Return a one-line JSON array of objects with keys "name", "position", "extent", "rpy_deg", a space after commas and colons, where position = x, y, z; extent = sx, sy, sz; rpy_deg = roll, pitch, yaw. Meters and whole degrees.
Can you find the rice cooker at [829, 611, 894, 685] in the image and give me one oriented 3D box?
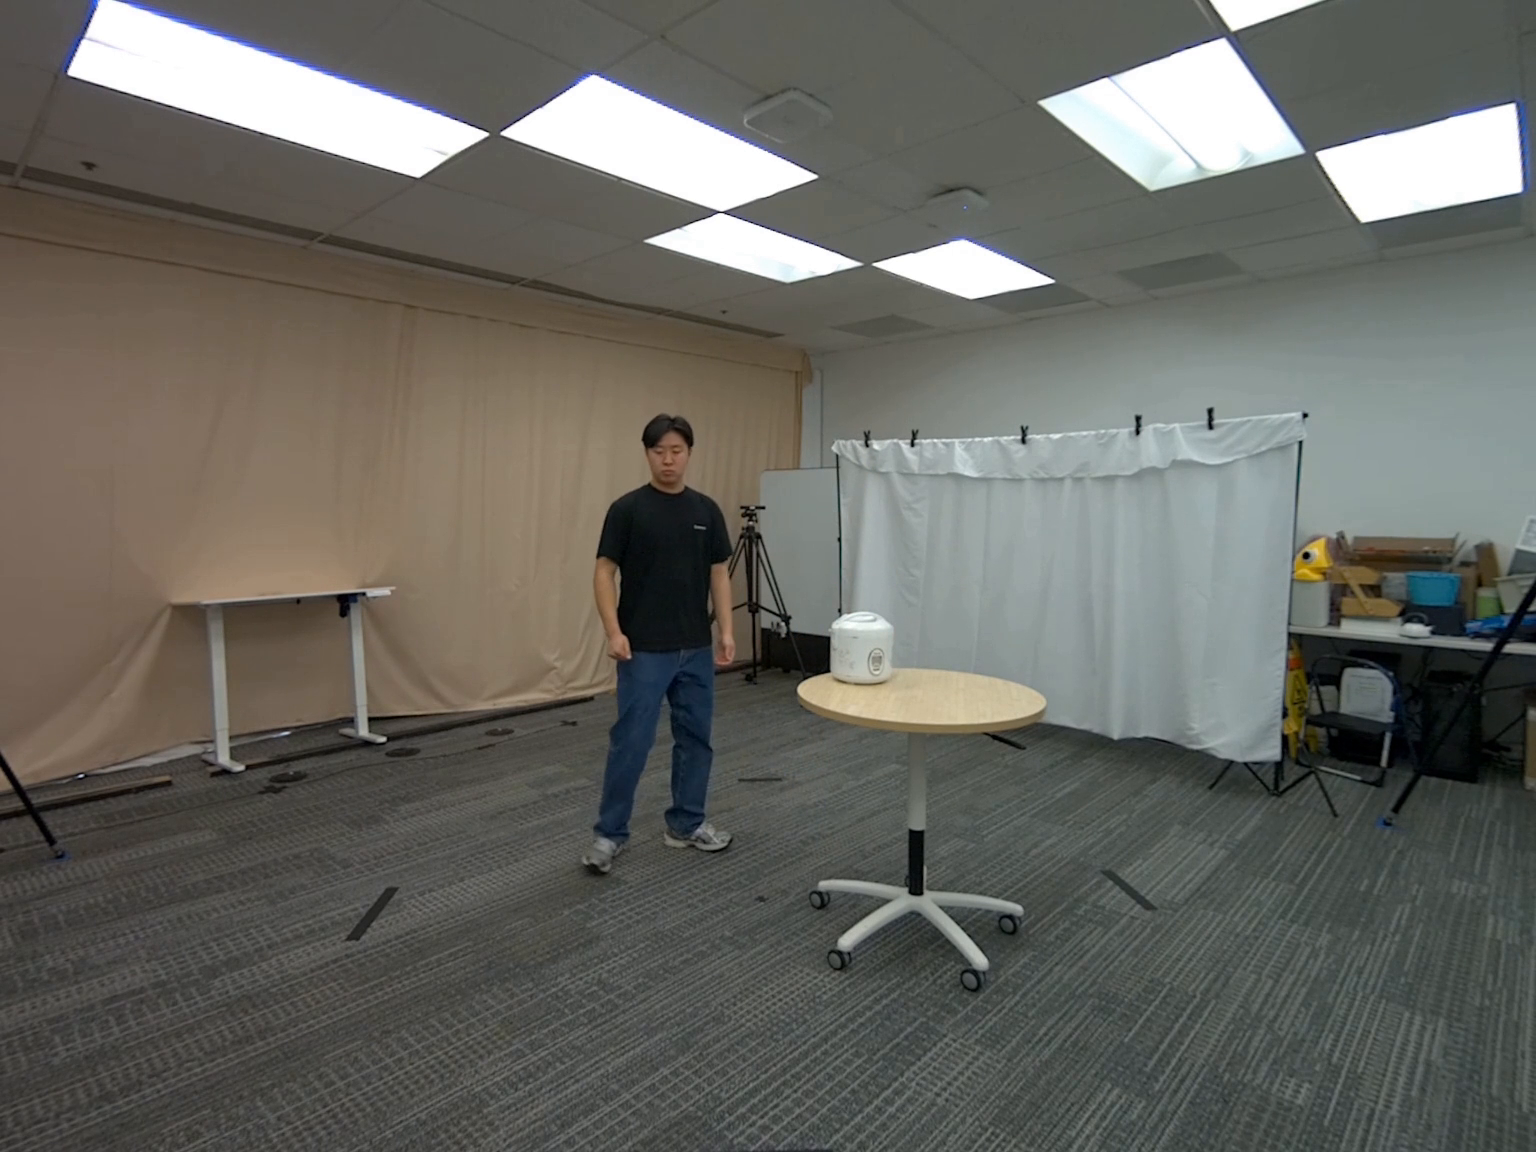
[{"name": "rice cooker", "position": [0.324, 0.238, 2.864], "extent": [0.216, 0.232, 0.222], "rpy_deg": [-2, 3, -20]}]
